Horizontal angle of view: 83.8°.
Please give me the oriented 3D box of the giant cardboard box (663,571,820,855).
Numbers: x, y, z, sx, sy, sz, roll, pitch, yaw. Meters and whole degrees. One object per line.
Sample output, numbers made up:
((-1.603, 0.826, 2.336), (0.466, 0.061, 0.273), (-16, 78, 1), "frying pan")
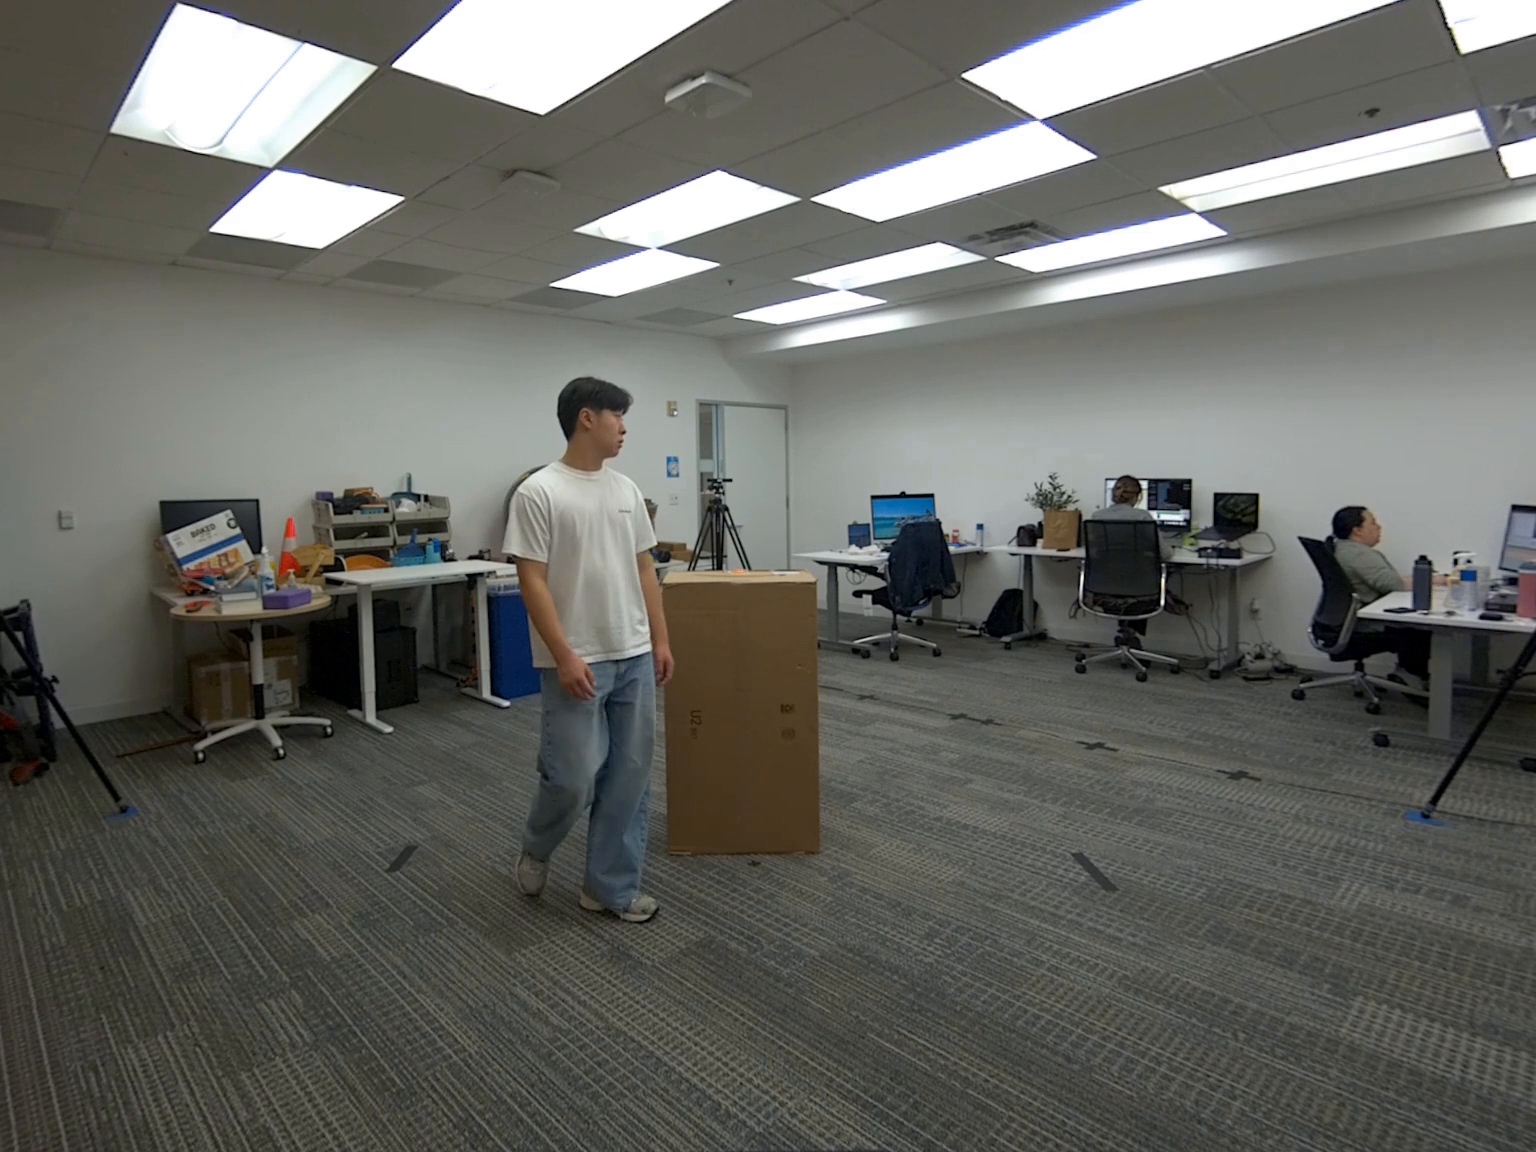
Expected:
((-0.100, 0.508, 3.365), (0.577, 1.022, 0.428), (-1, 4, -1), "giant cardboard box")
